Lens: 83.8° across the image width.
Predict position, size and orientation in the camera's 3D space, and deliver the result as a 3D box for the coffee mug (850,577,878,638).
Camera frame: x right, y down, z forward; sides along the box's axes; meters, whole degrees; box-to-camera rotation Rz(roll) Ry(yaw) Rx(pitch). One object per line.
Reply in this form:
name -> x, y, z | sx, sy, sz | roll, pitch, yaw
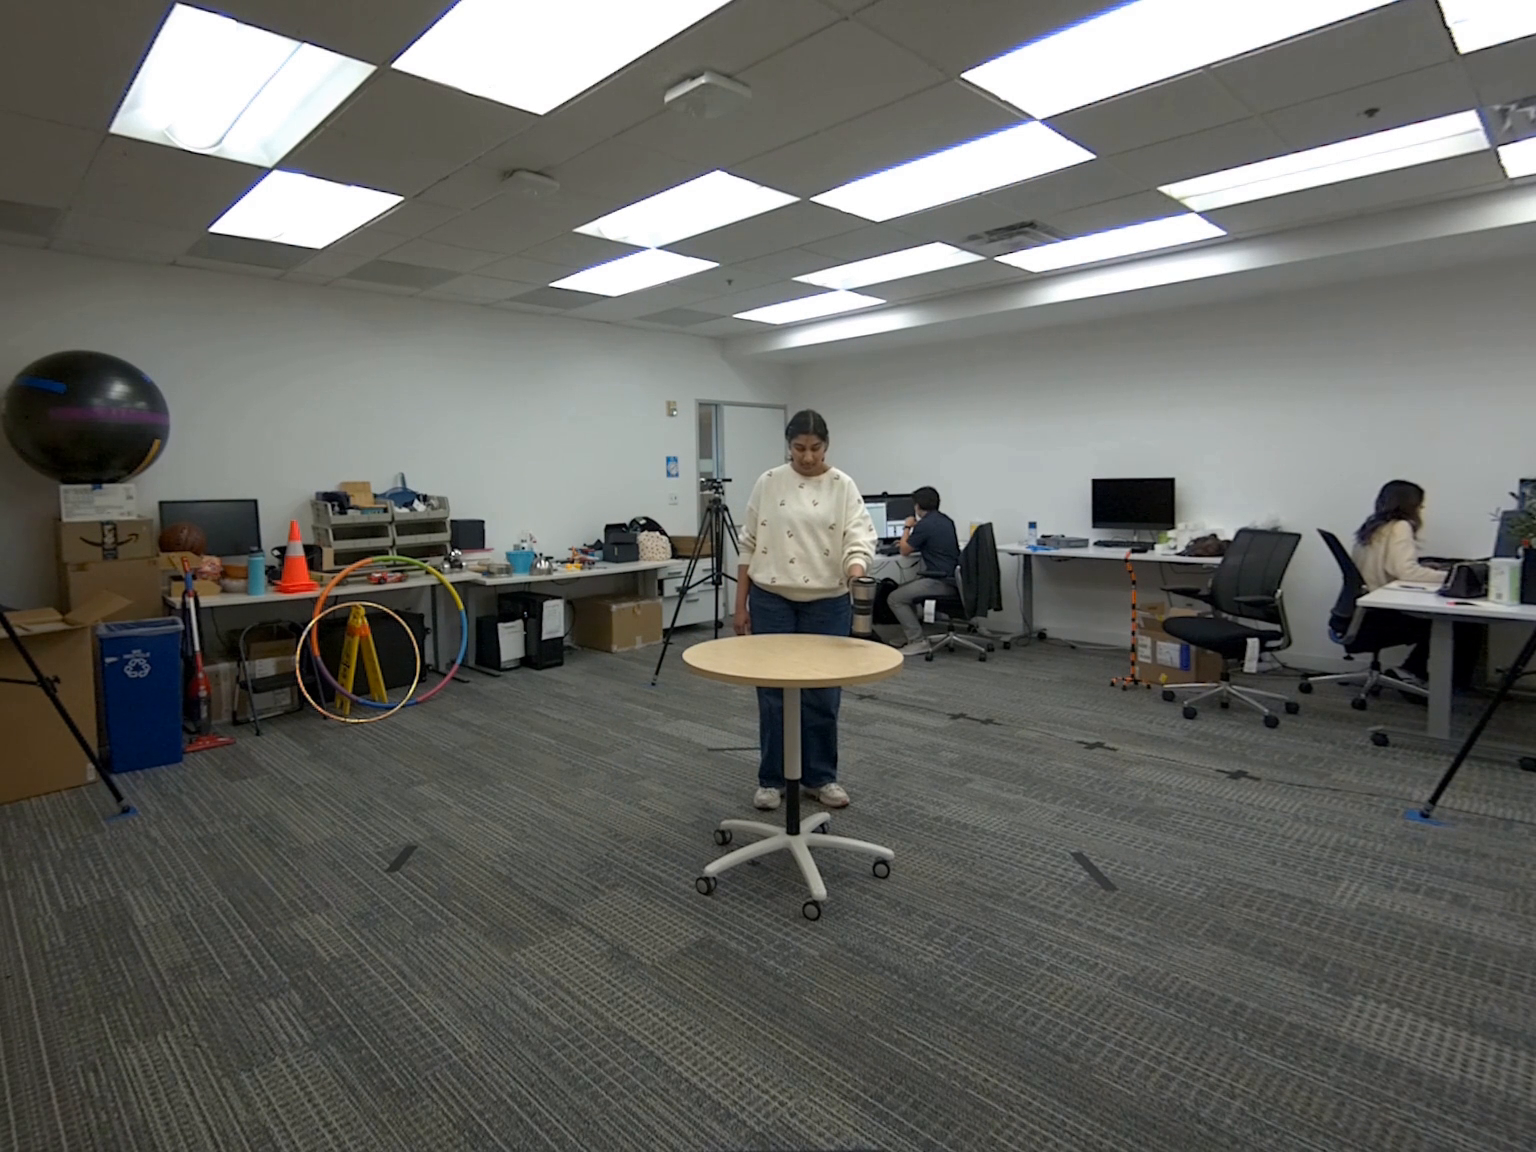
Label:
coffee mug -> 0.363, 0.114, 3.130 | 0.090, 0.202, 0.119 | 2, 5, 43
